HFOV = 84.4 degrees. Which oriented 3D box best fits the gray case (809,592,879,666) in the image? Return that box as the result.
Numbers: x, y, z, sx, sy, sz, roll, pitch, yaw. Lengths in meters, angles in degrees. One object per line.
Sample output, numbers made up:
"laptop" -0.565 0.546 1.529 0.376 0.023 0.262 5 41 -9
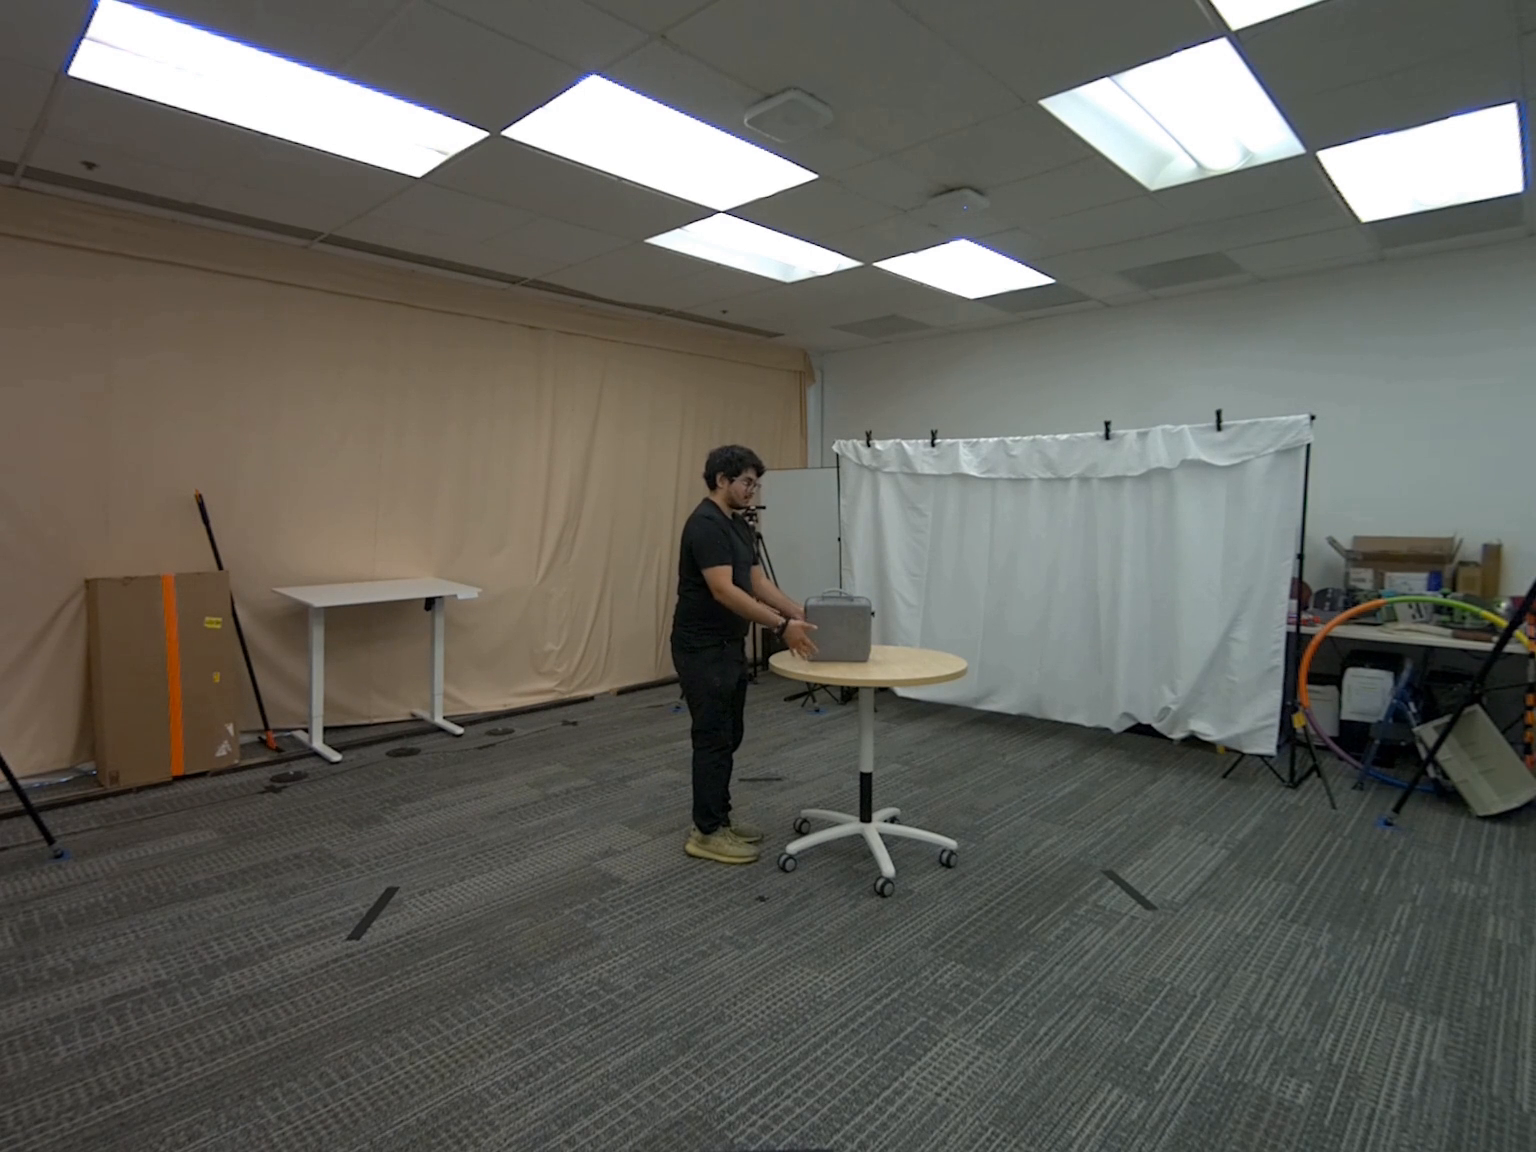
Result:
"gray case" 0.288 0.201 3.270 0.258 0.258 0.104 0 14 5
